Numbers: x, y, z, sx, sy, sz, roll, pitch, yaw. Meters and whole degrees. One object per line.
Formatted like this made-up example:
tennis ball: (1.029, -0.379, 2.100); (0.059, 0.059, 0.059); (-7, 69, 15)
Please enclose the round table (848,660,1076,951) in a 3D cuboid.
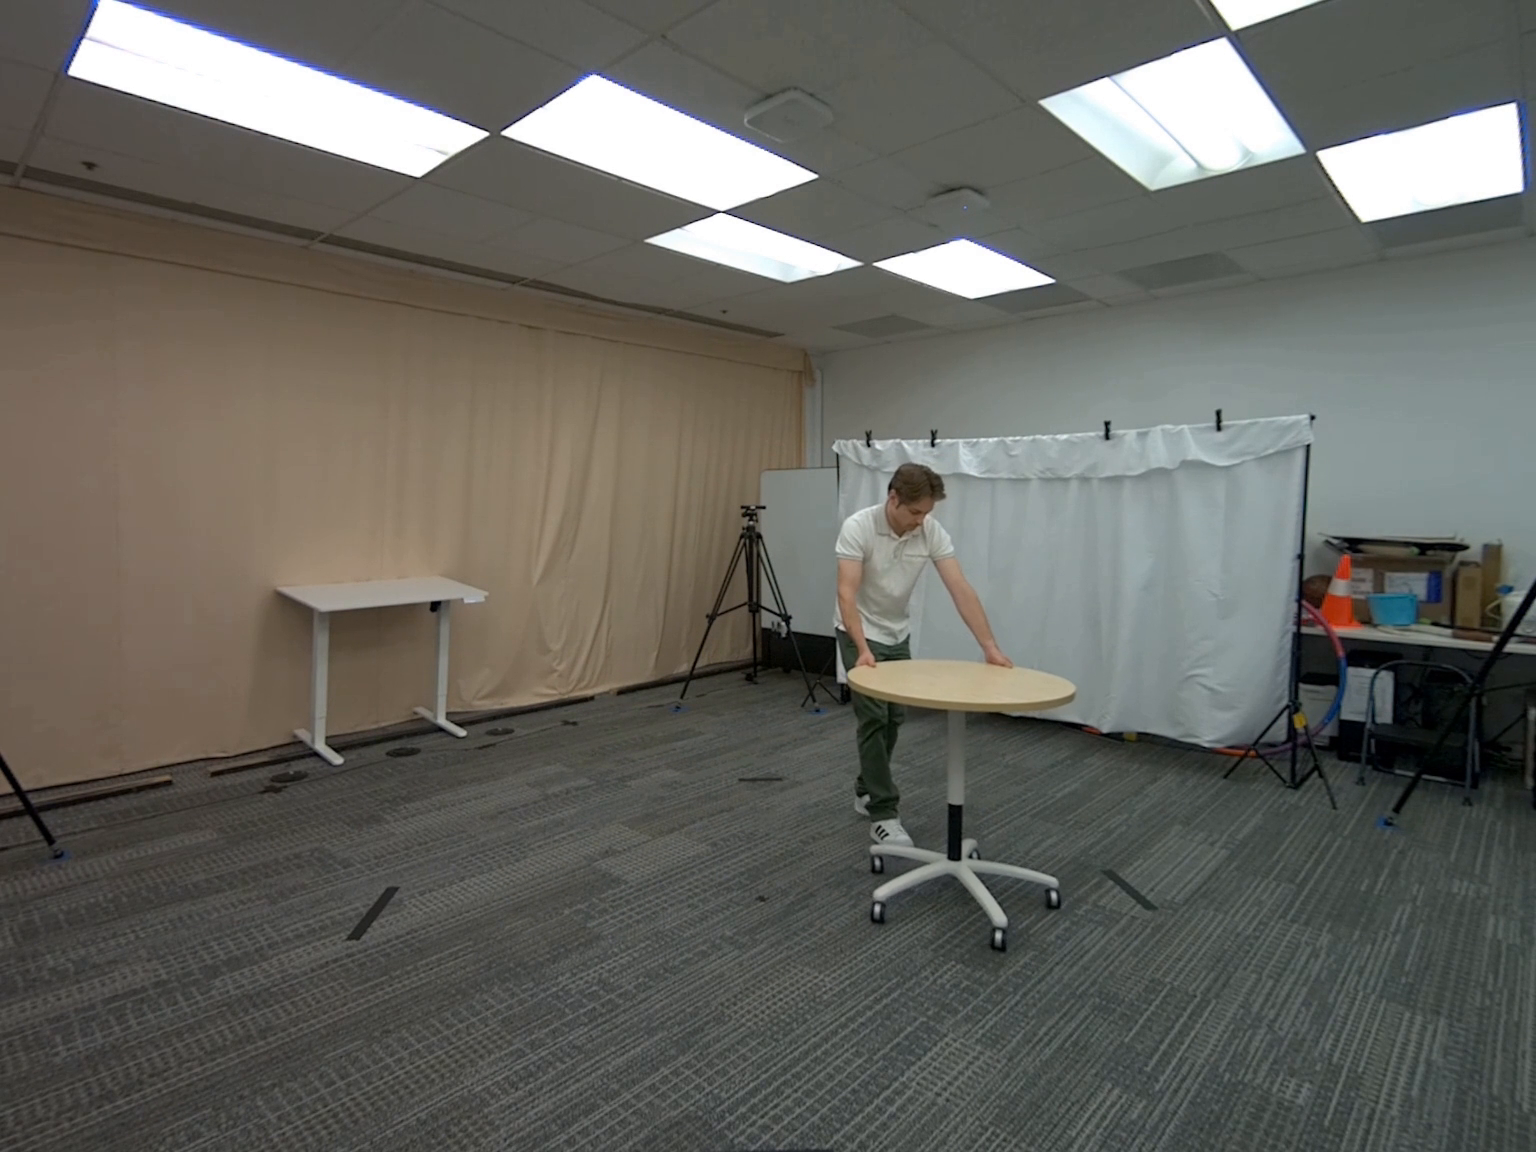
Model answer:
round table: (0.648, 0.745, 2.977); (0.784, 0.785, 0.787); (0, 3, -2)
